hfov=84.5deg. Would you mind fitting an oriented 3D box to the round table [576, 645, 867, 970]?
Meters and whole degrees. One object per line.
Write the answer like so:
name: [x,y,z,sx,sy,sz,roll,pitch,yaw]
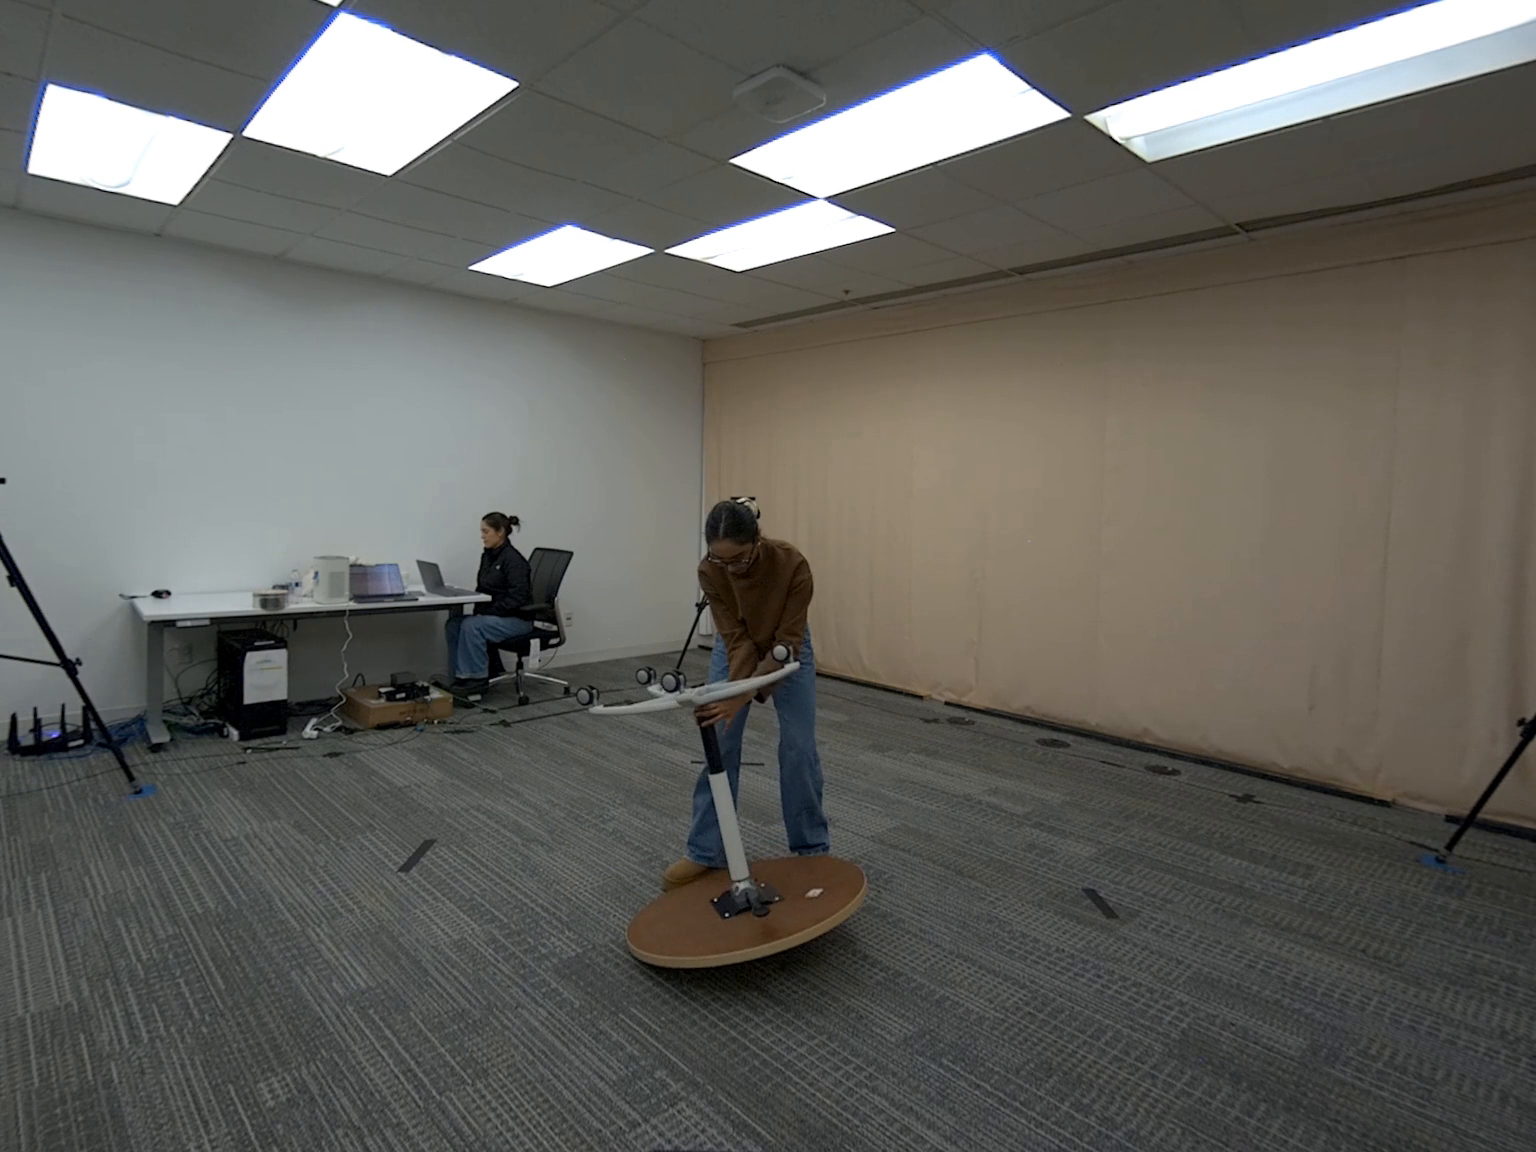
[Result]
round table: [-0.166,0.669,2.660,0.763,0.797,0.762,-13,-4,-2]
